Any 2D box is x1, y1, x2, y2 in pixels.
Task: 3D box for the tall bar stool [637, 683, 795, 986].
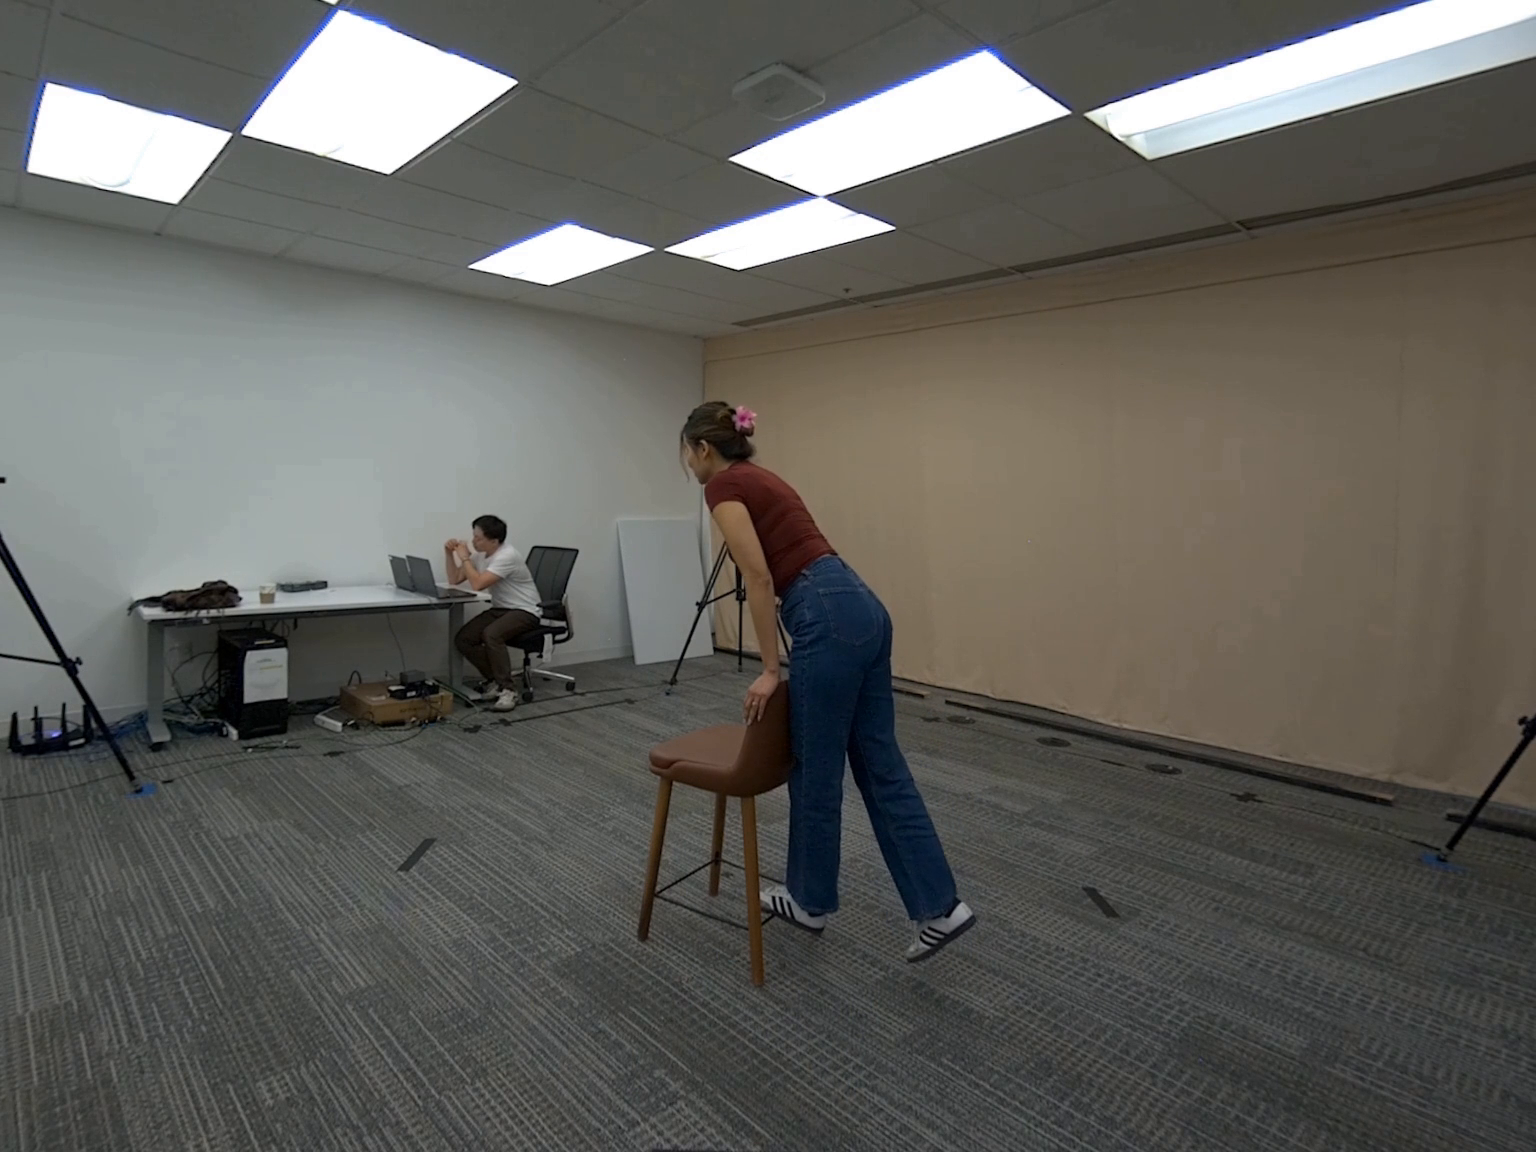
[{"bbox_3d":[-0.101,0.708,2.643,0.479,0.886,0.447,6,6,34],"label":"tall bar stool"}]
